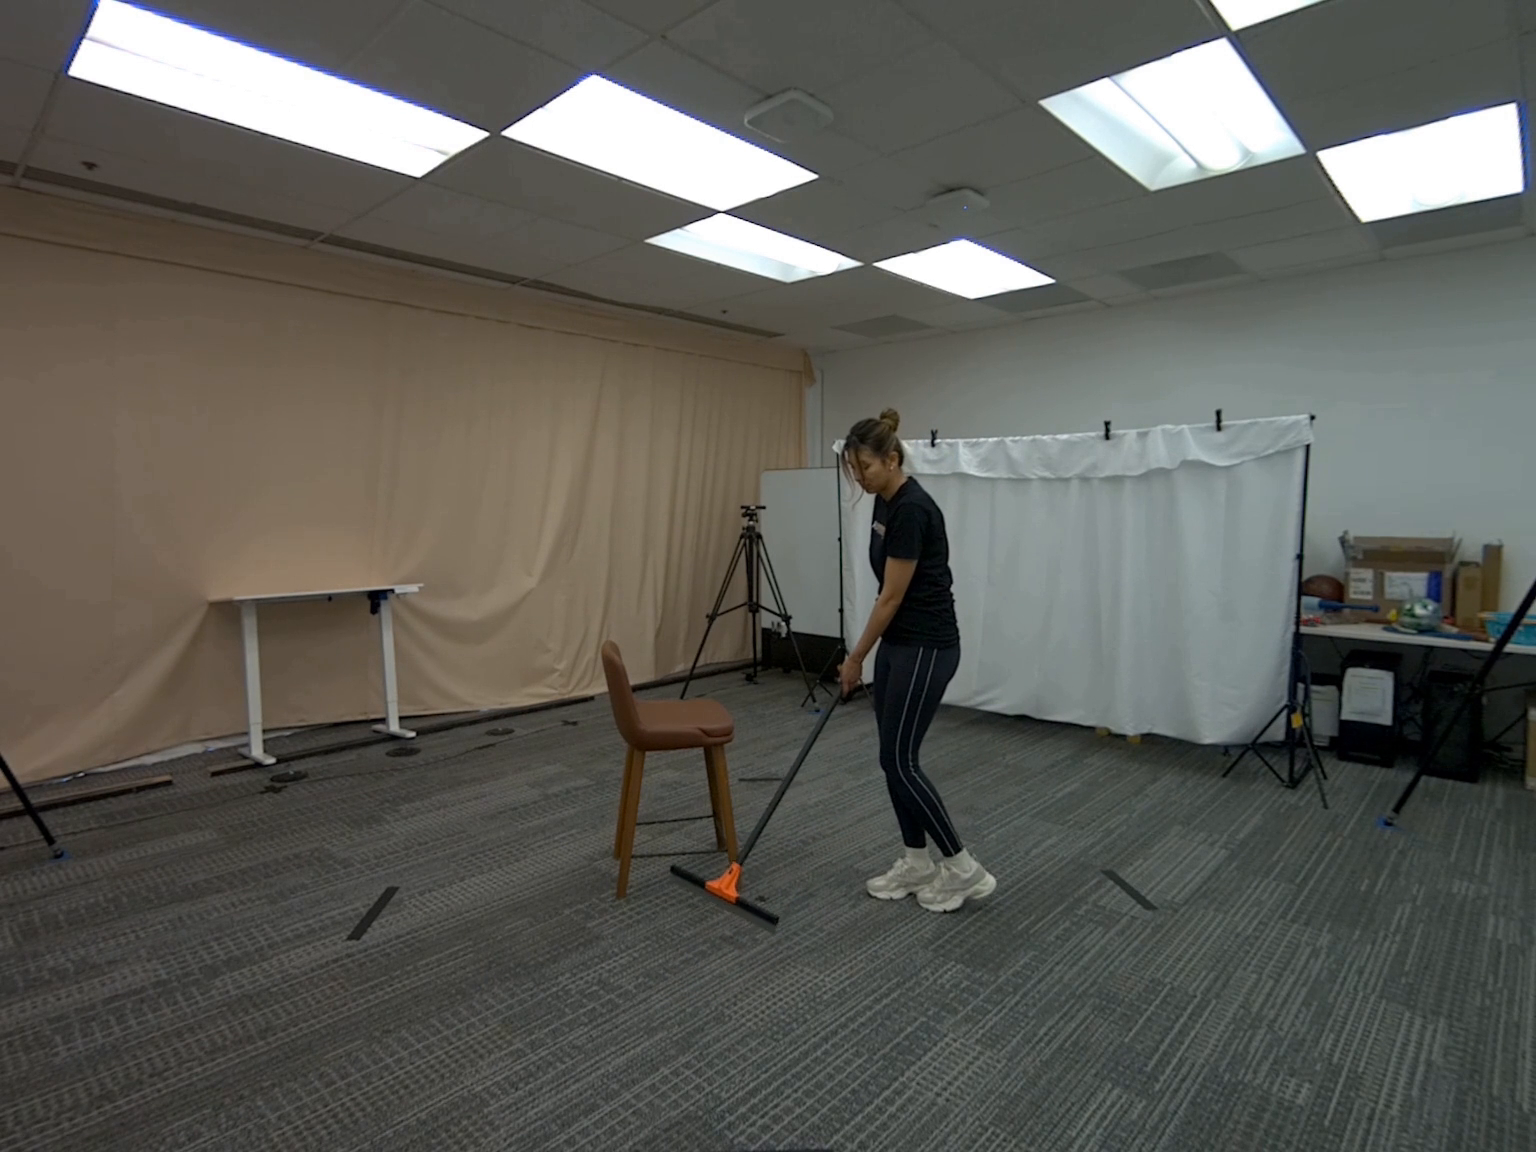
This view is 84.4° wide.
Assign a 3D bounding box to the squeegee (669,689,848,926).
[{"bbox_3d":[0.232,0.447,2.947,0.452,0.051,1.533,5,49,39],"label":"squeegee"}]
